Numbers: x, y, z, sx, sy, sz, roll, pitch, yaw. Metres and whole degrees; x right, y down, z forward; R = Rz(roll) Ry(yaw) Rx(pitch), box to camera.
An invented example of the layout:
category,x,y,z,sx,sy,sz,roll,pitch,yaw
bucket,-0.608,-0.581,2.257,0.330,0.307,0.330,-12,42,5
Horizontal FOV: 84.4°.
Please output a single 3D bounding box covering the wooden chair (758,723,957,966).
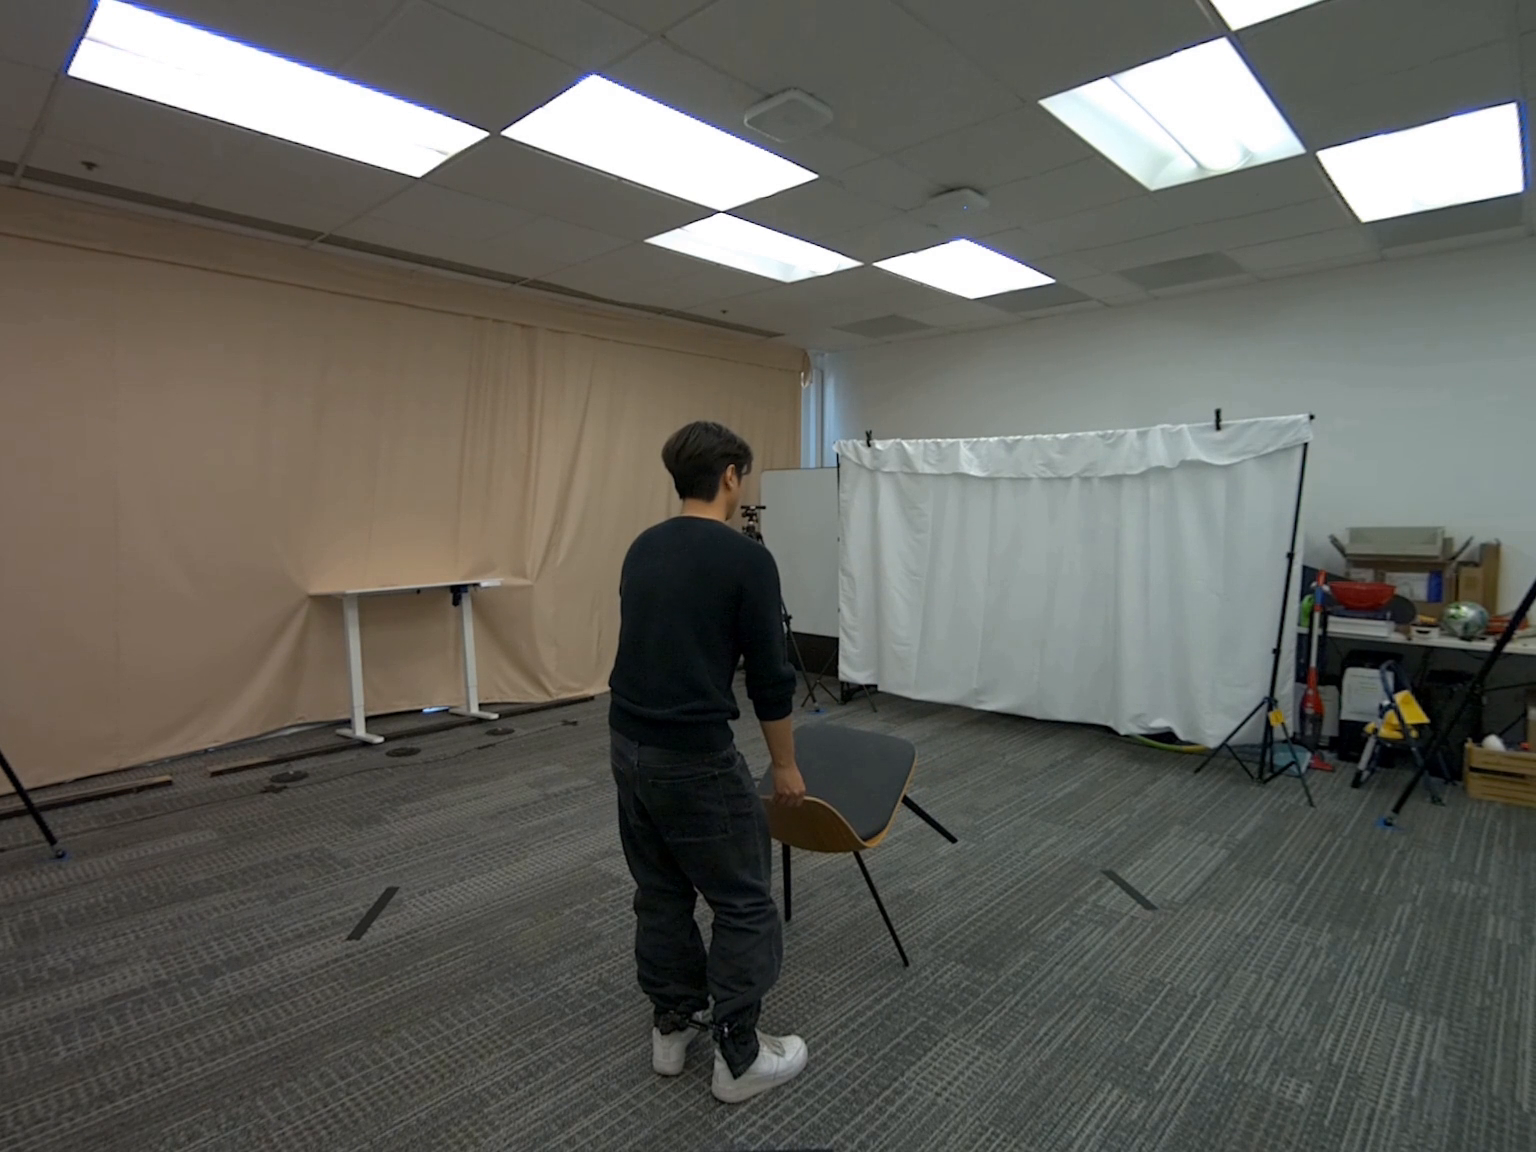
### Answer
category,x,y,z,sx,sy,sz,roll,pitch,yaw
wooden chair,0.207,0.693,2.608,0.494,0.851,0.522,3,46,38
